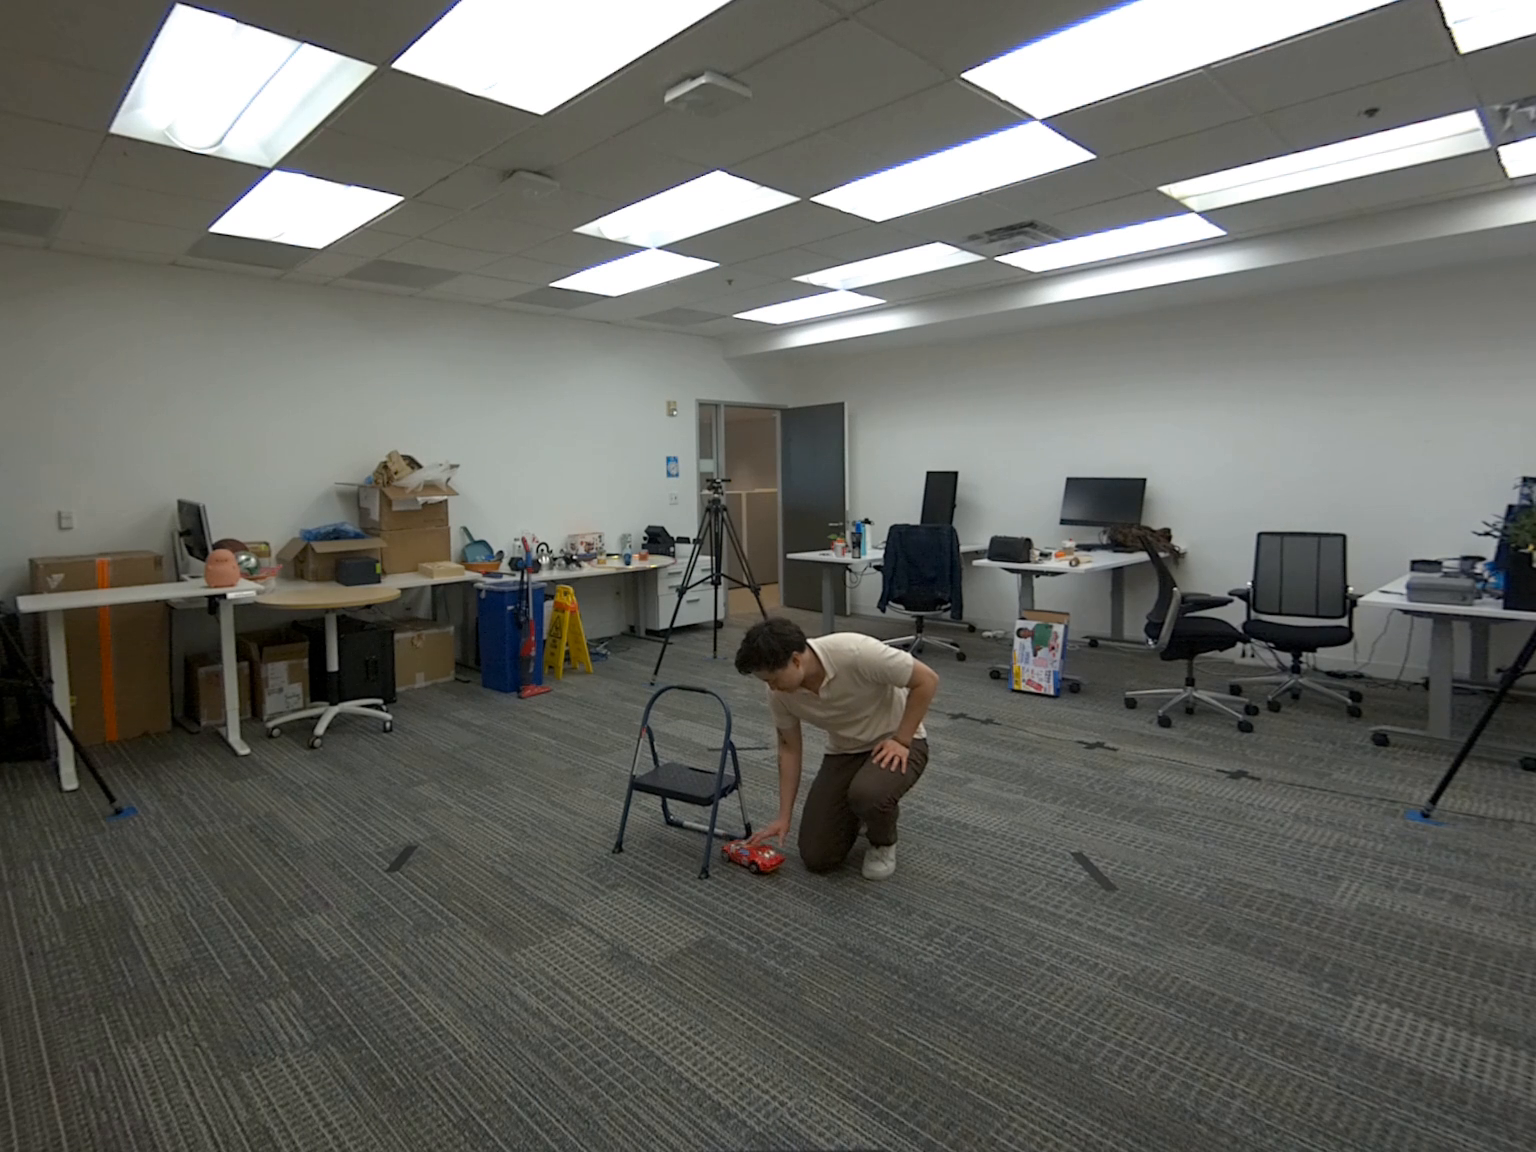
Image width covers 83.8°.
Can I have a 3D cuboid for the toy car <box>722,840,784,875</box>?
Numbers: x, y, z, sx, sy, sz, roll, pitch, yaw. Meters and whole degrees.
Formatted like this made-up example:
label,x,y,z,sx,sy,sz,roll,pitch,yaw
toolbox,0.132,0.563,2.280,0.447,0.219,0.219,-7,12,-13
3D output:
label,x,y,z,sx,sy,sz,roll,pitch,yaw
toy car,-0.049,1.012,3.080,0.260,0.083,0.127,-10,-3,44
